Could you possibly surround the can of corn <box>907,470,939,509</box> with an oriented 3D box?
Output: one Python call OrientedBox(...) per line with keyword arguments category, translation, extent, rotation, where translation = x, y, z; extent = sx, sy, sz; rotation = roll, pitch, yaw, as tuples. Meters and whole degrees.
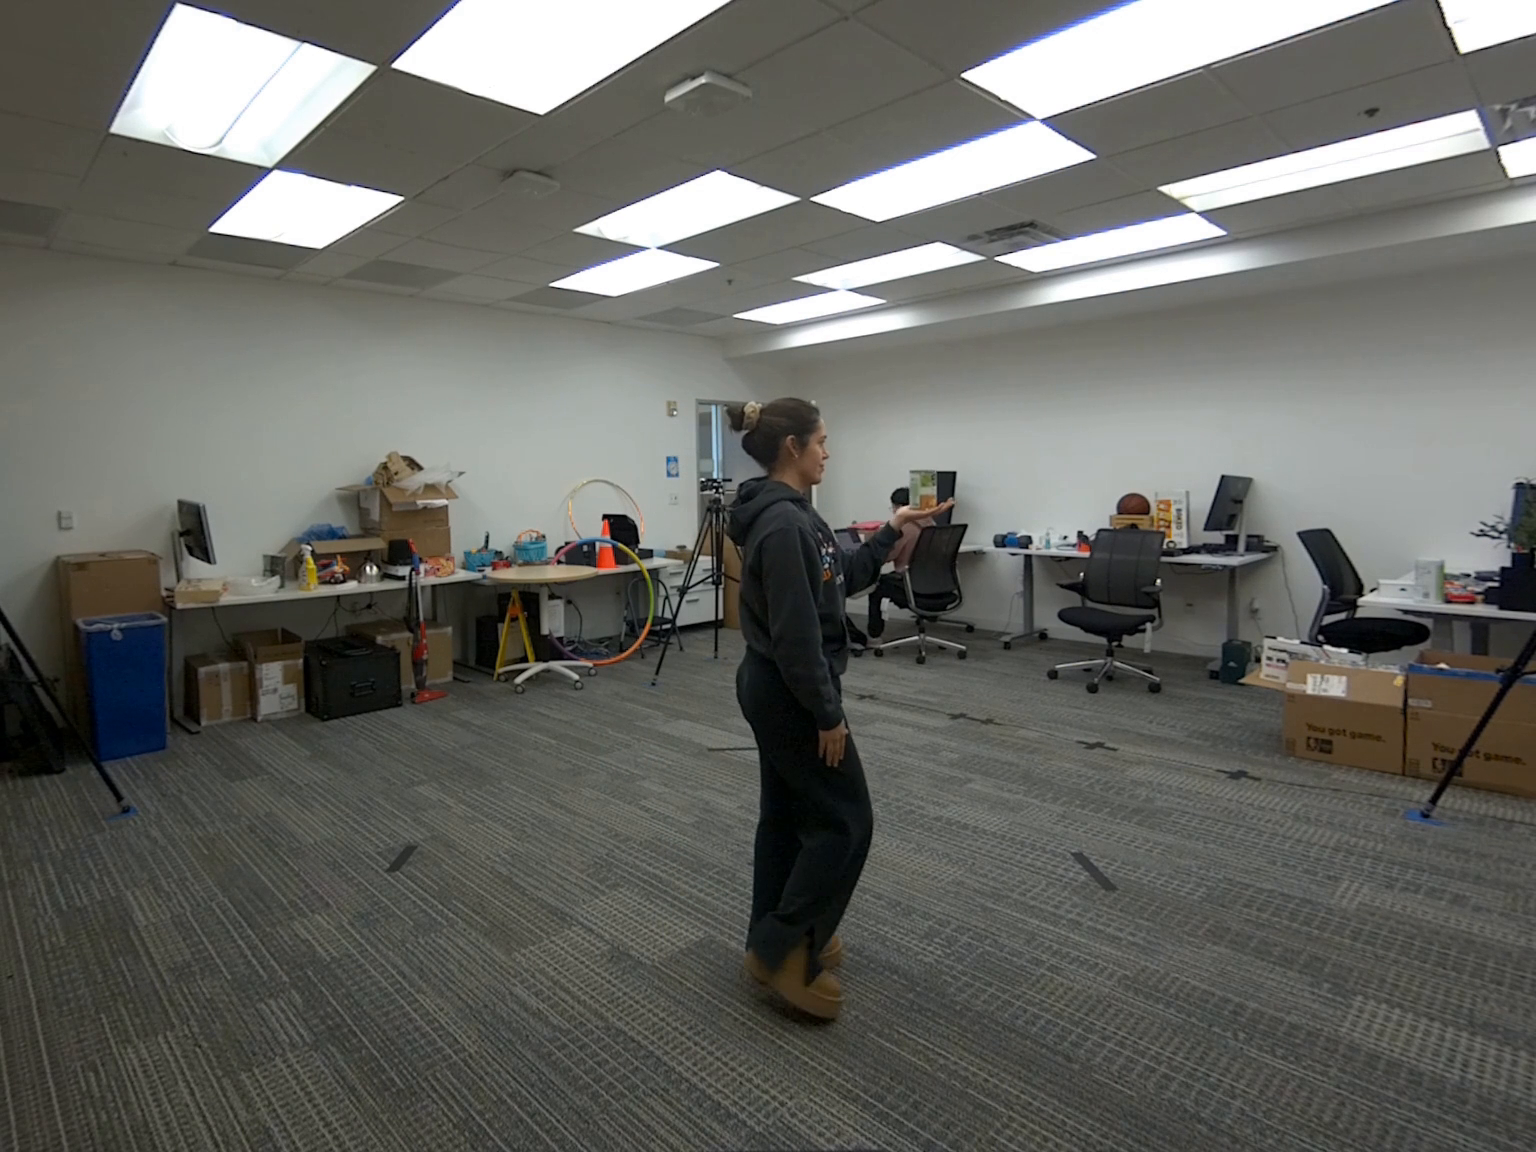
OrientedBox(category="can of corn", translation=(0.438, -0.239, 2.391), extent=(0.074, 0.110, 0.075), rotation=(-4, 9, -1))
